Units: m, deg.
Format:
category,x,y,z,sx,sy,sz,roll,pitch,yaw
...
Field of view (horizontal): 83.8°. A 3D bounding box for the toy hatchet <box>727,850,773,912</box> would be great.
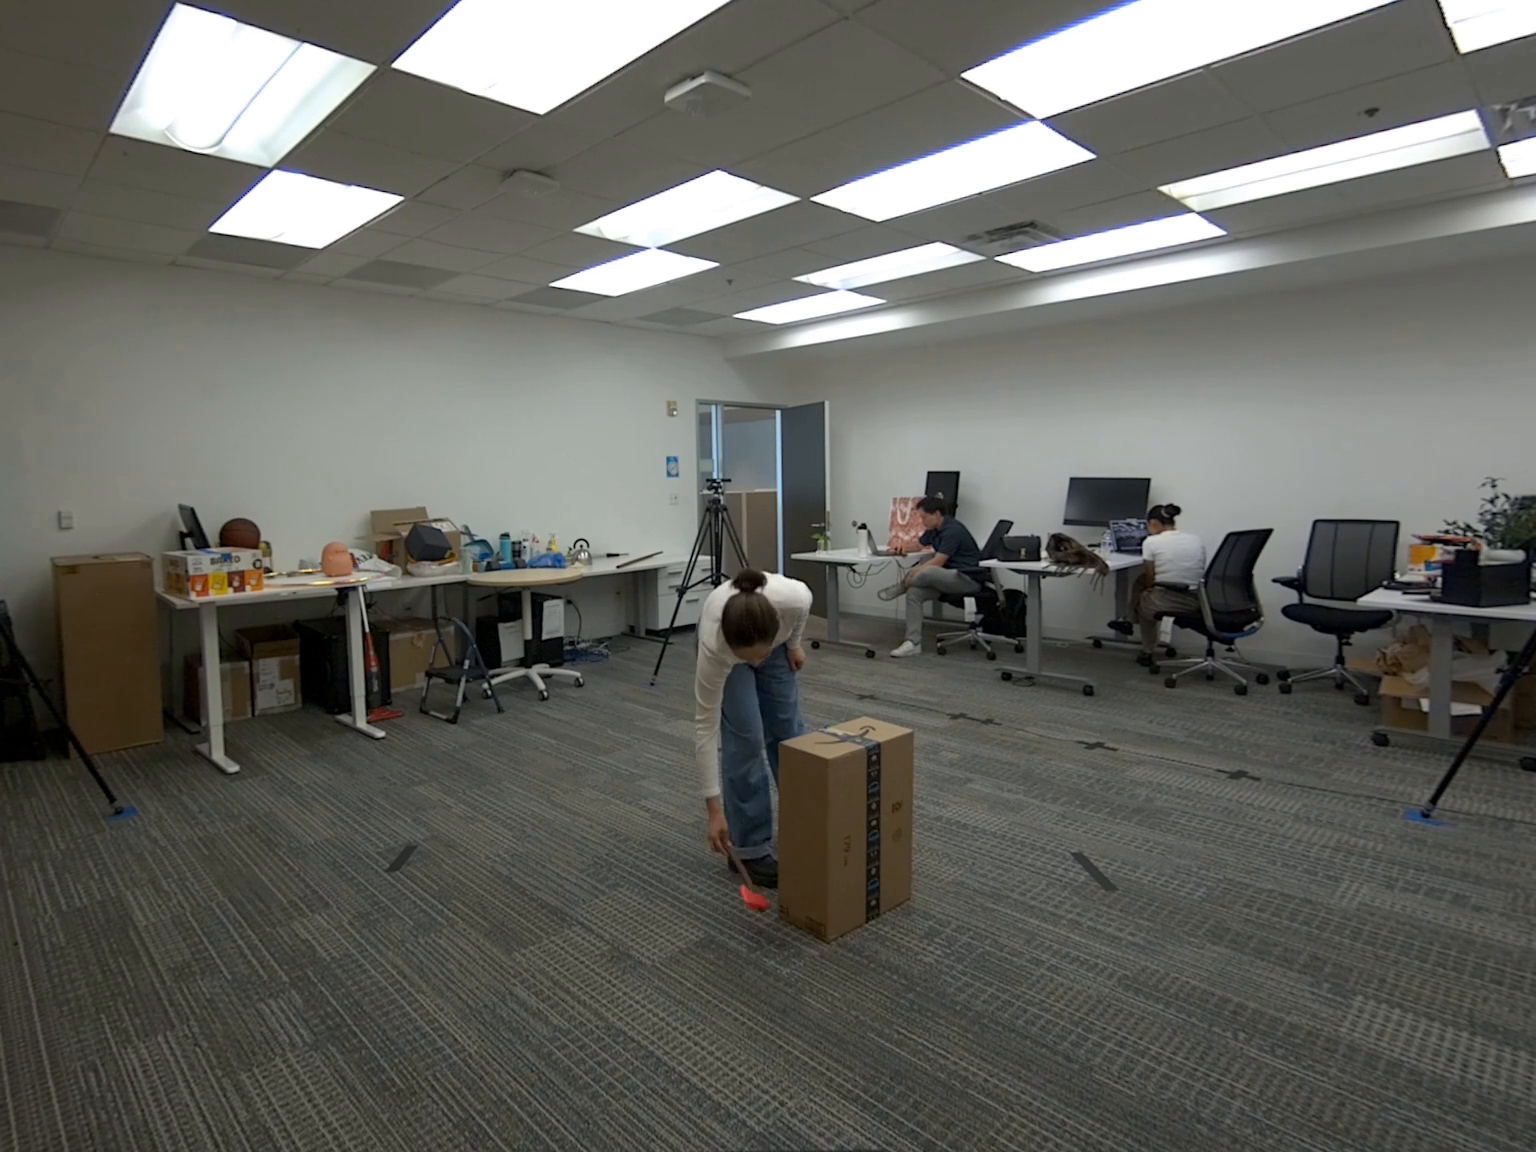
category,x,y,z,sx,sy,sz,roll,pitch,yaw
toy hatchet,-0.097,0.921,2.629,0.278,0.029,0.127,46,15,25
